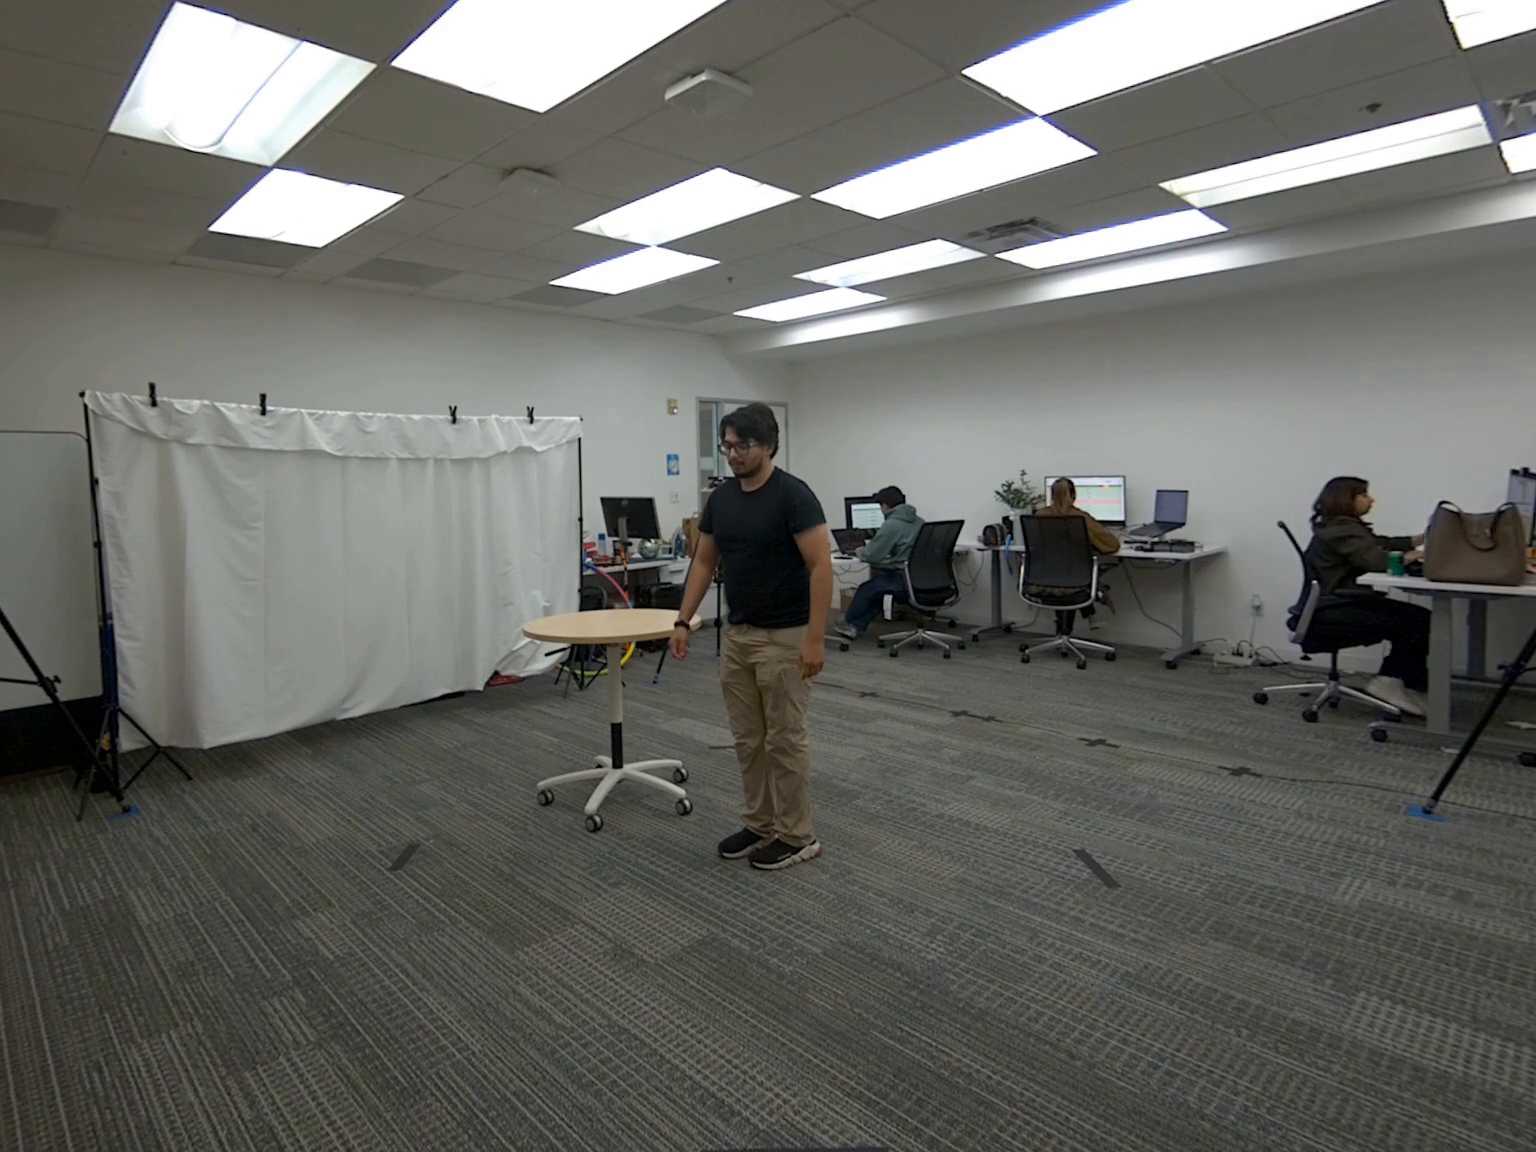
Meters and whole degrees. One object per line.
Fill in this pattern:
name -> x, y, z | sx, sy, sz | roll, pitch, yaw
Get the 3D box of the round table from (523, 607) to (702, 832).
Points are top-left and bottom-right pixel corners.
round table -> -0.664, 0.586, 3.709 | 0.784, 0.784, 0.788 | -2, 4, -2
